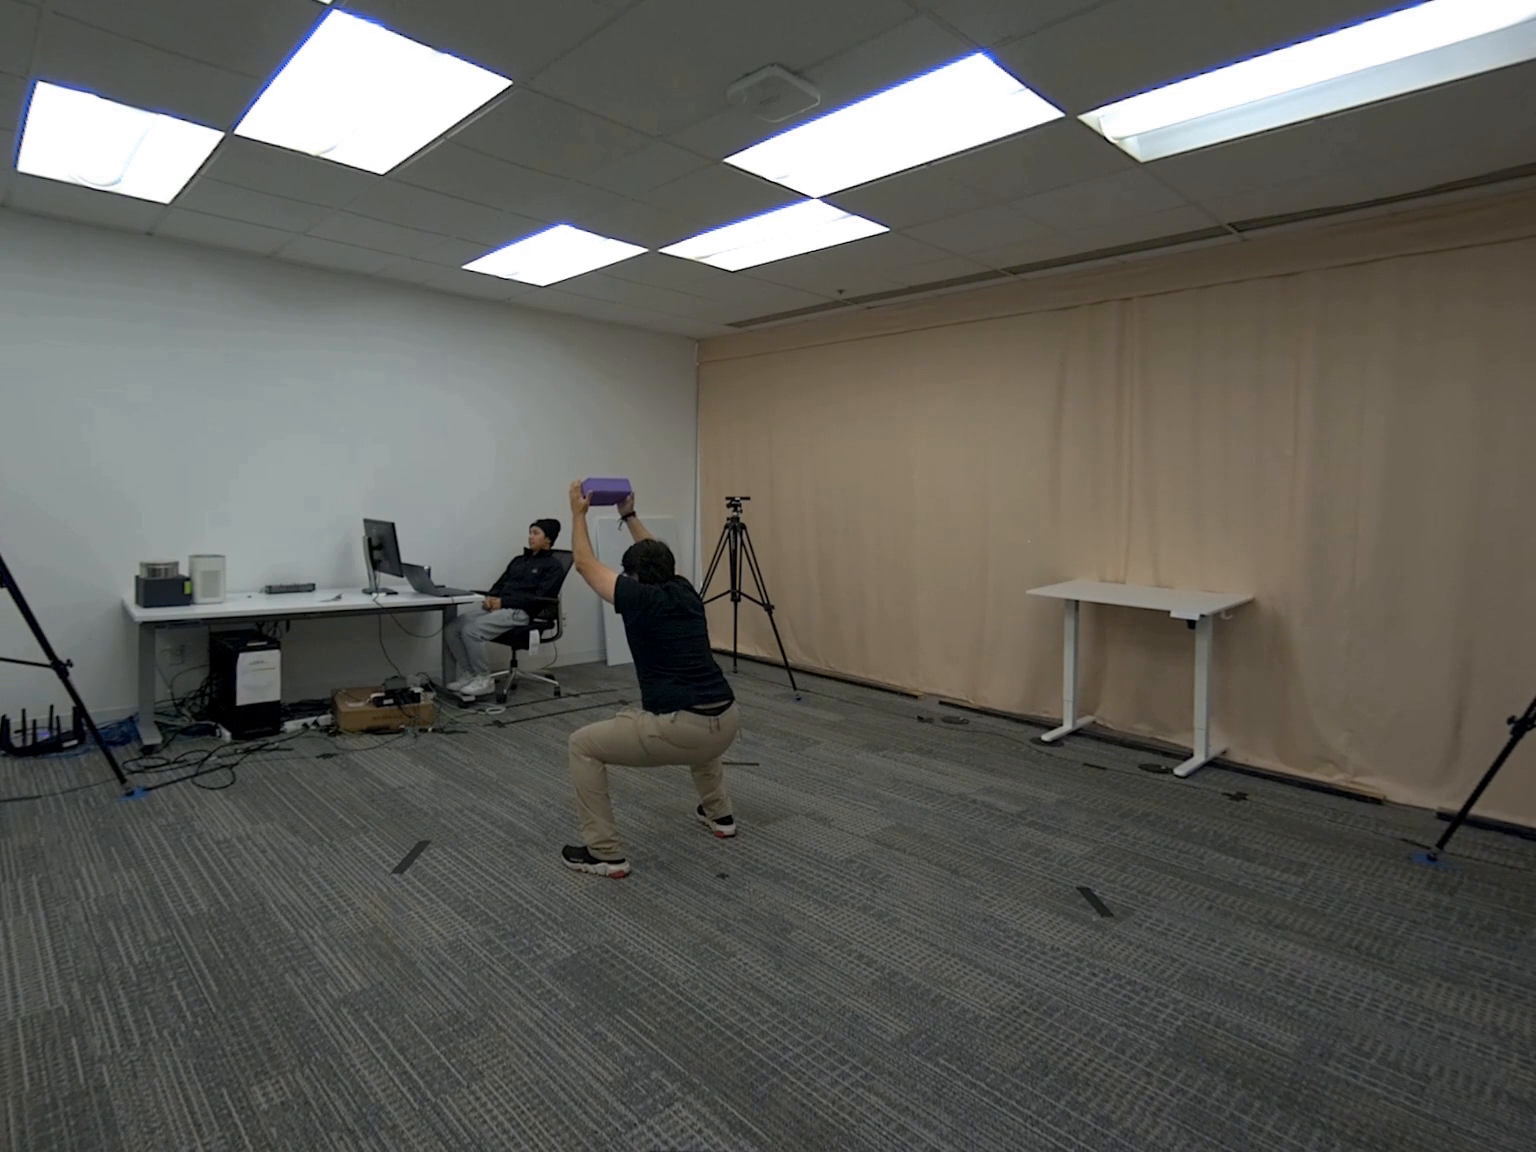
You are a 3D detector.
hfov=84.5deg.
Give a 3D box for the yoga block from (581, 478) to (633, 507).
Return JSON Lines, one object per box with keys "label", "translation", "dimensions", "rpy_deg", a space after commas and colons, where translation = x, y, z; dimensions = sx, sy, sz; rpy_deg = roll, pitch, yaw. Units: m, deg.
{"label": "yoga block", "translation": [-0.724, -0.366, 3.623], "dimensions": [0.150, 0.077, 0.224], "rpy_deg": [-30, -15, 39]}
